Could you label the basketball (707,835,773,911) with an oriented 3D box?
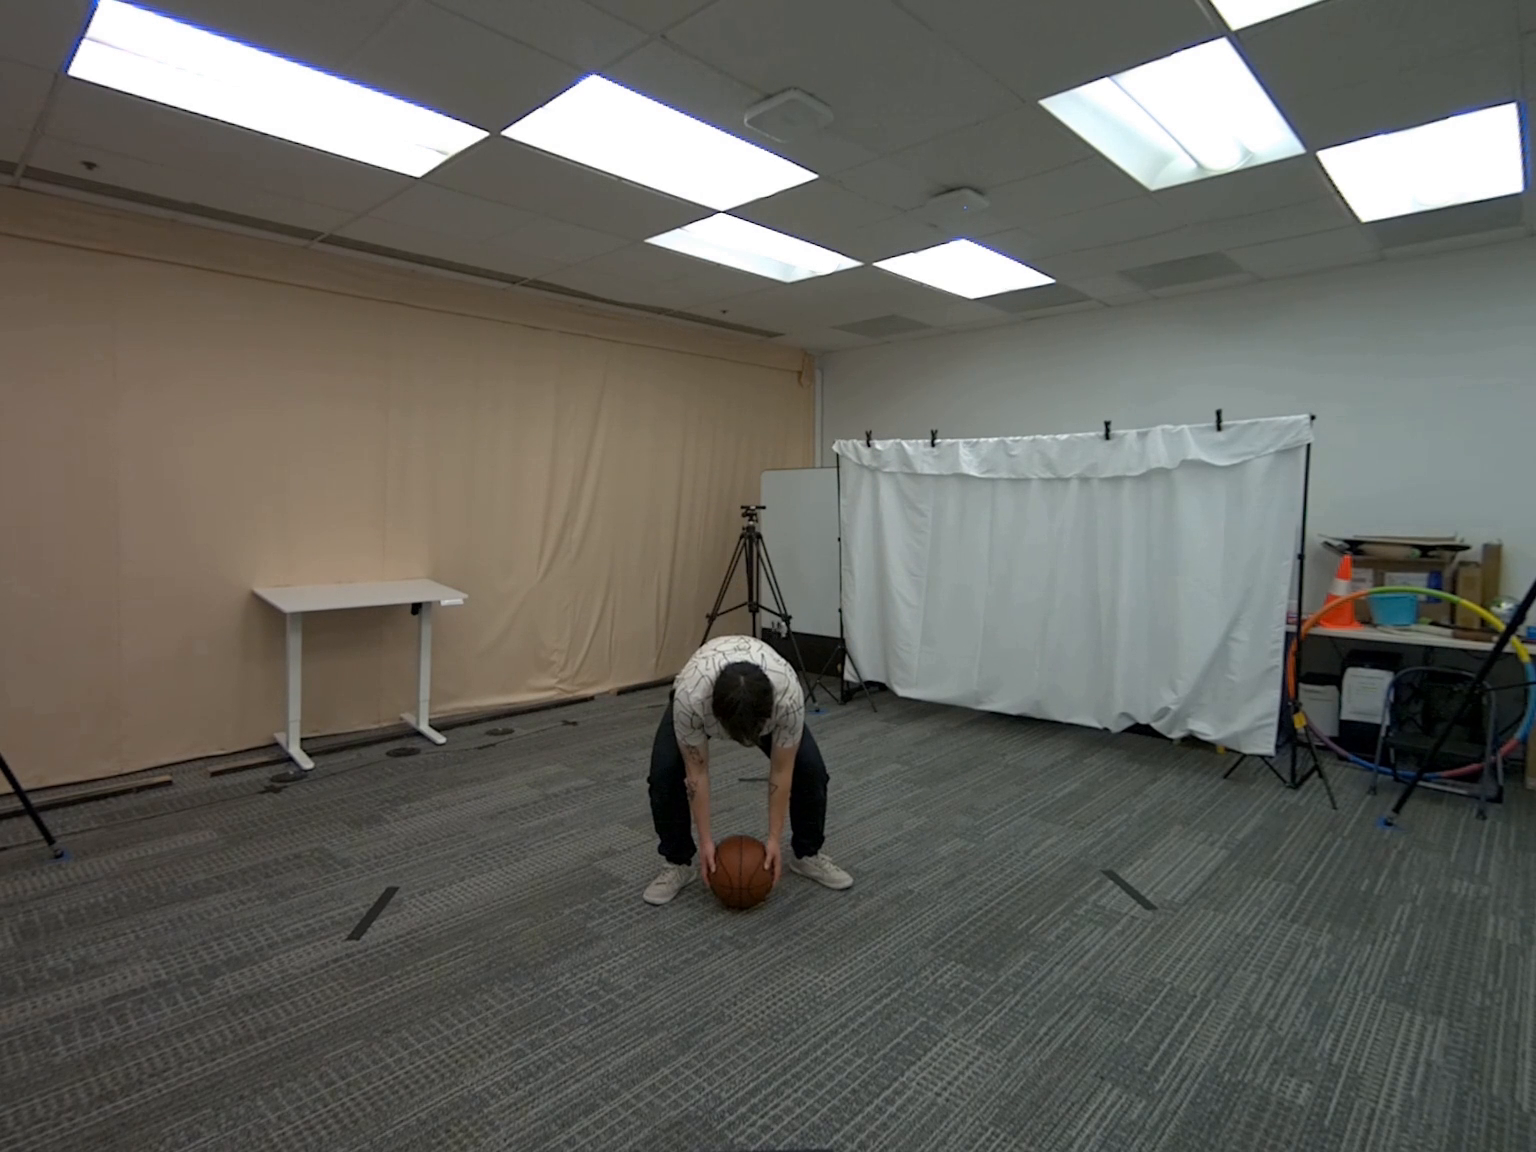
[{"bbox_3d":[-0.091,1.019,2.933,0.236,0.235,0.237,0,4,-2],"label":"basketball"}]
